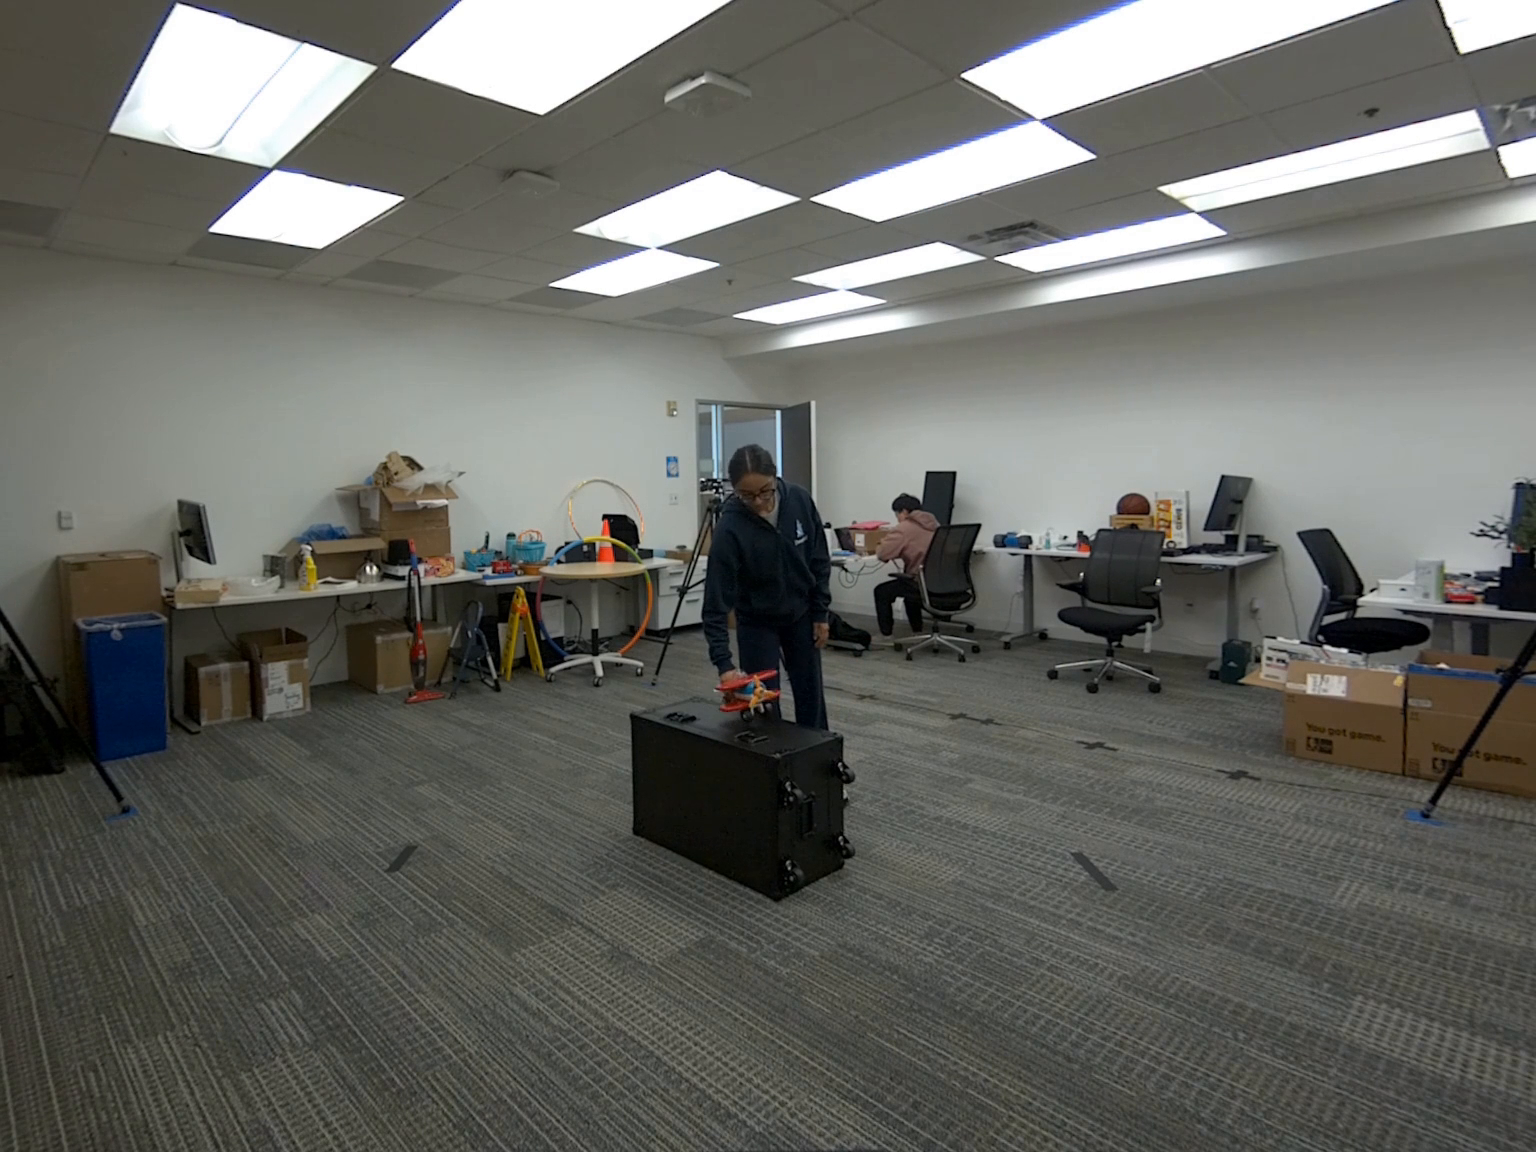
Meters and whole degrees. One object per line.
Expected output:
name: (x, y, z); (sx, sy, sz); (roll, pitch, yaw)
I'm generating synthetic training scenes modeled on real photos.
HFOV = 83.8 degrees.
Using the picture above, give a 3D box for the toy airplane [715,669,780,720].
toy airplane: (-0.101, 0.441, 3.189); (0.266, 0.154, 0.248); (8, 20, 29)
